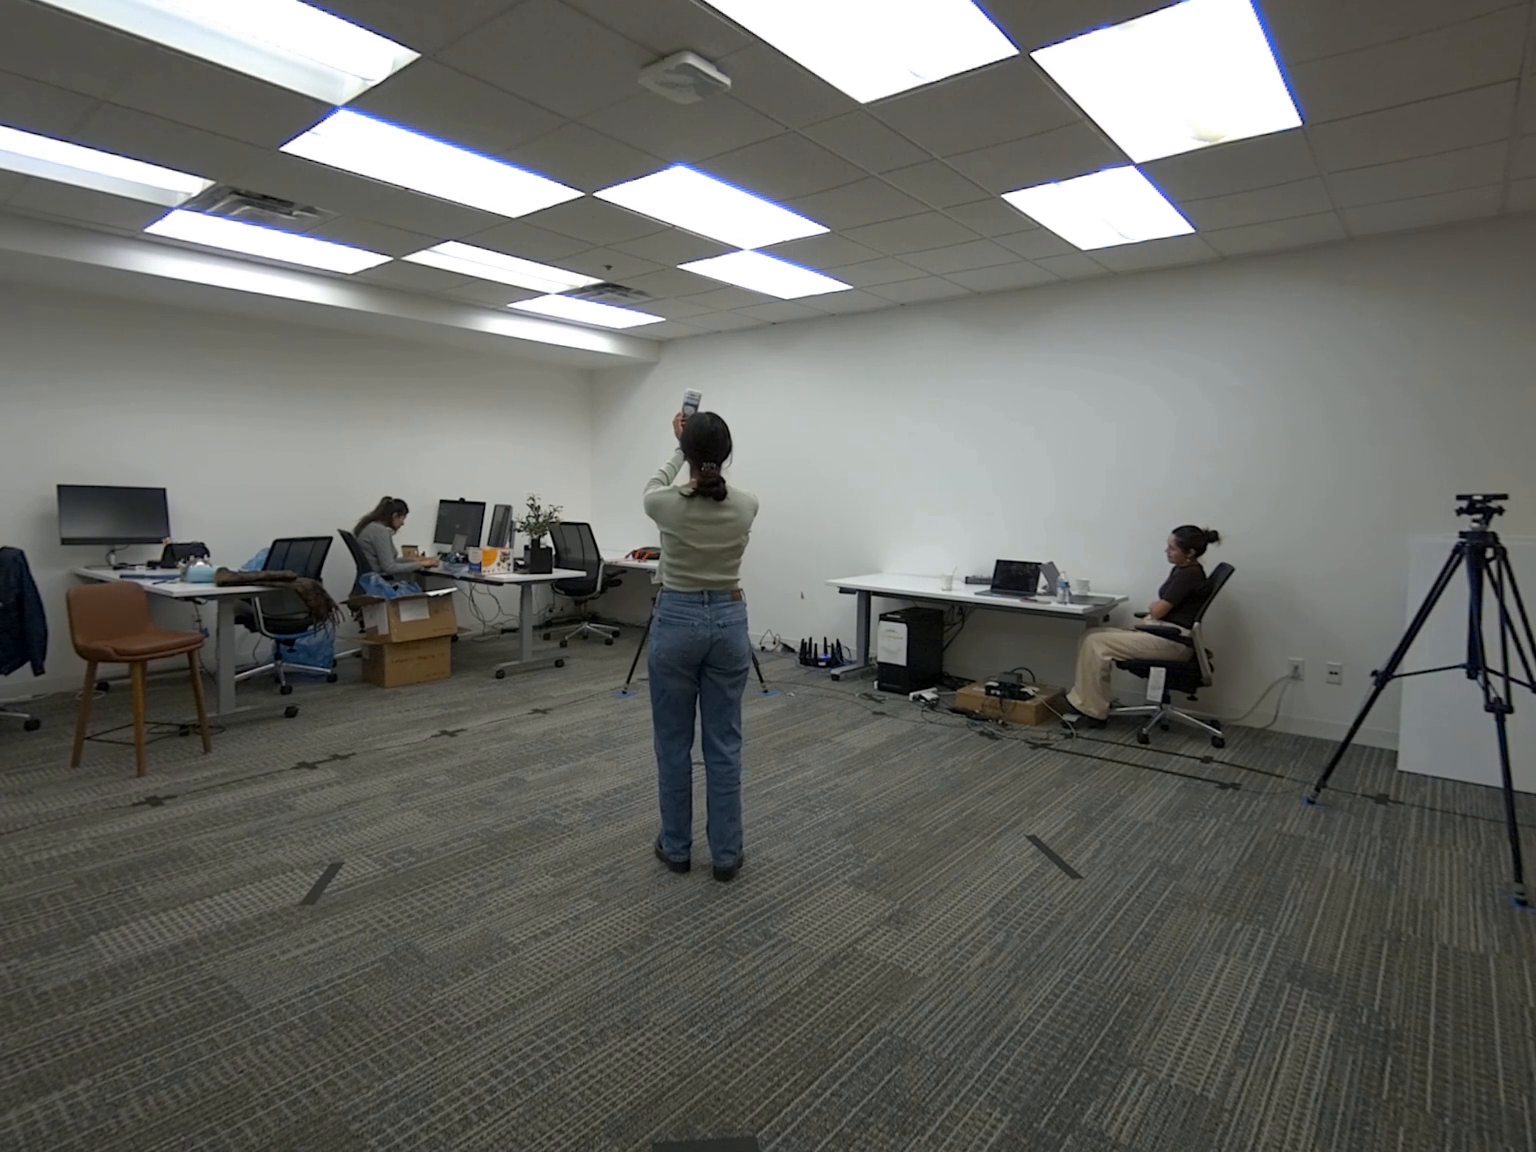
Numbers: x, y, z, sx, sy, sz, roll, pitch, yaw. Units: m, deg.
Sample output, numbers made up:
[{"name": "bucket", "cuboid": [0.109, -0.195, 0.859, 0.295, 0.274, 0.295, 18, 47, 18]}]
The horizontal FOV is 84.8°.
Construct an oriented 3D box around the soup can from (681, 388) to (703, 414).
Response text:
[{"name": "soup can", "cuboid": [-0.311, -0.684, 3.379, 0.067, 0.121, 0.067, 10, 5, -3]}]
